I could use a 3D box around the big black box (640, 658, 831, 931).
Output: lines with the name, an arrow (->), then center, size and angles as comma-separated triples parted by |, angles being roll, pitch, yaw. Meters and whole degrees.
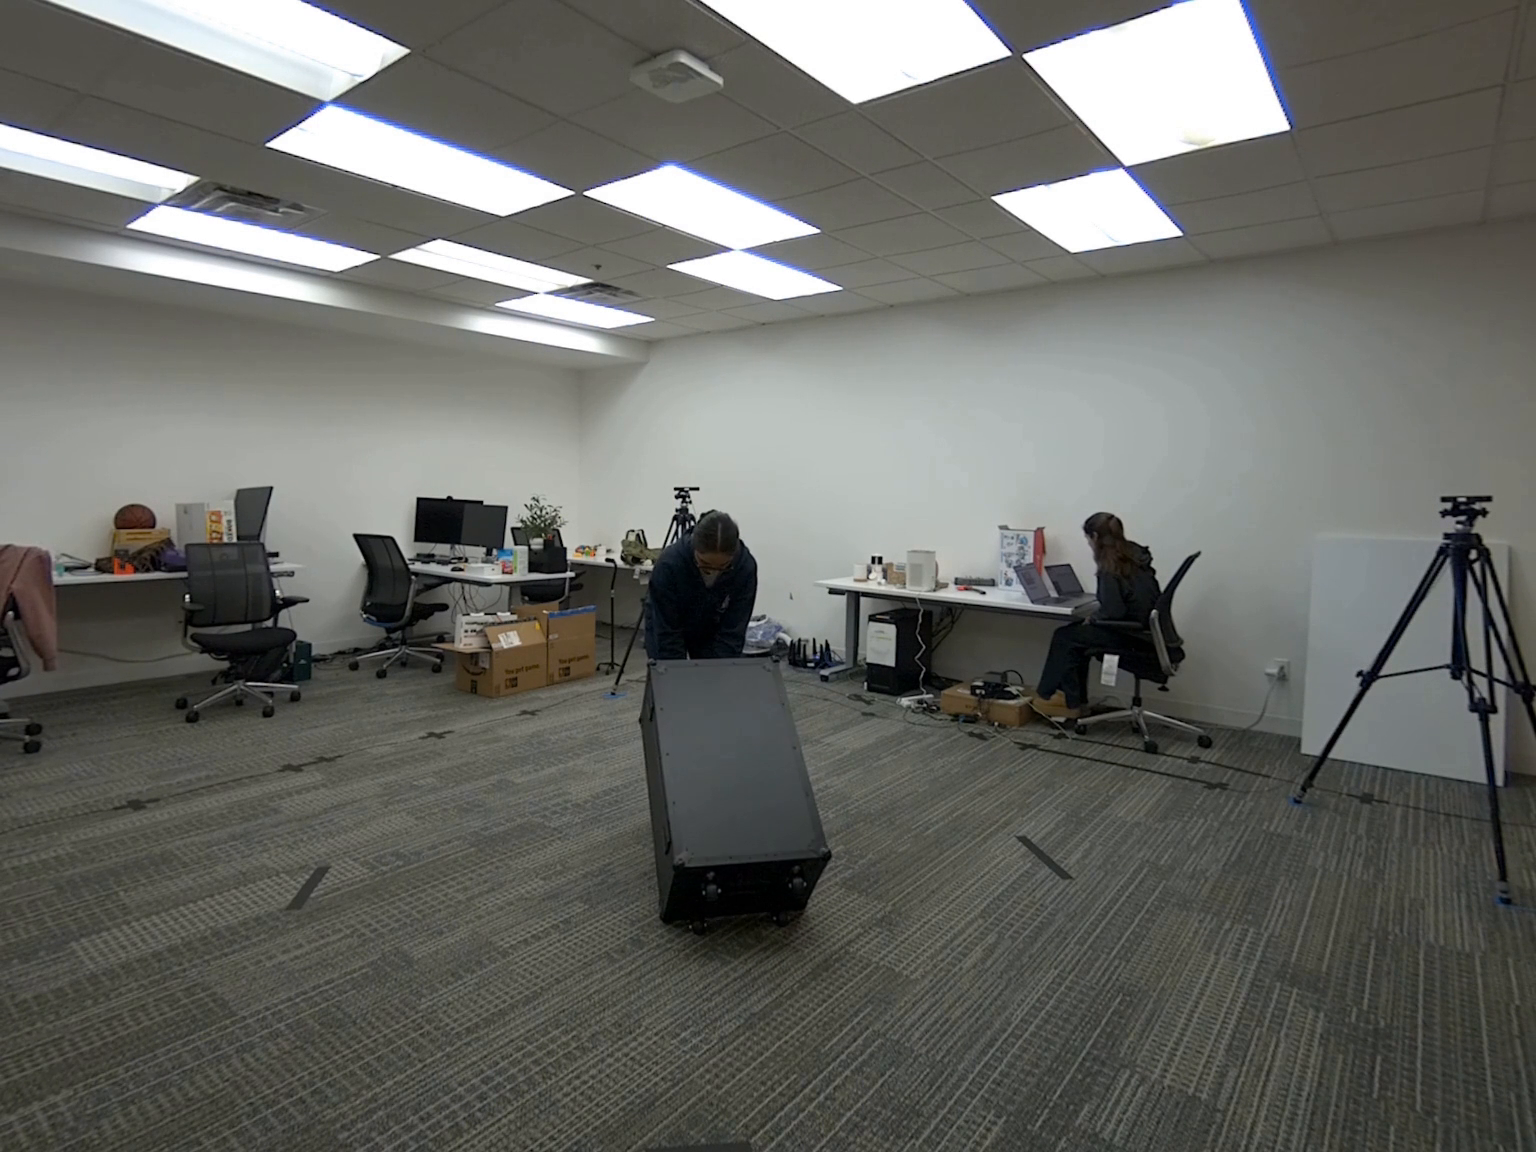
big black box -> -0.156, 0.726, 2.908 | 0.514, 0.388, 0.893 | 0, 42, -14
